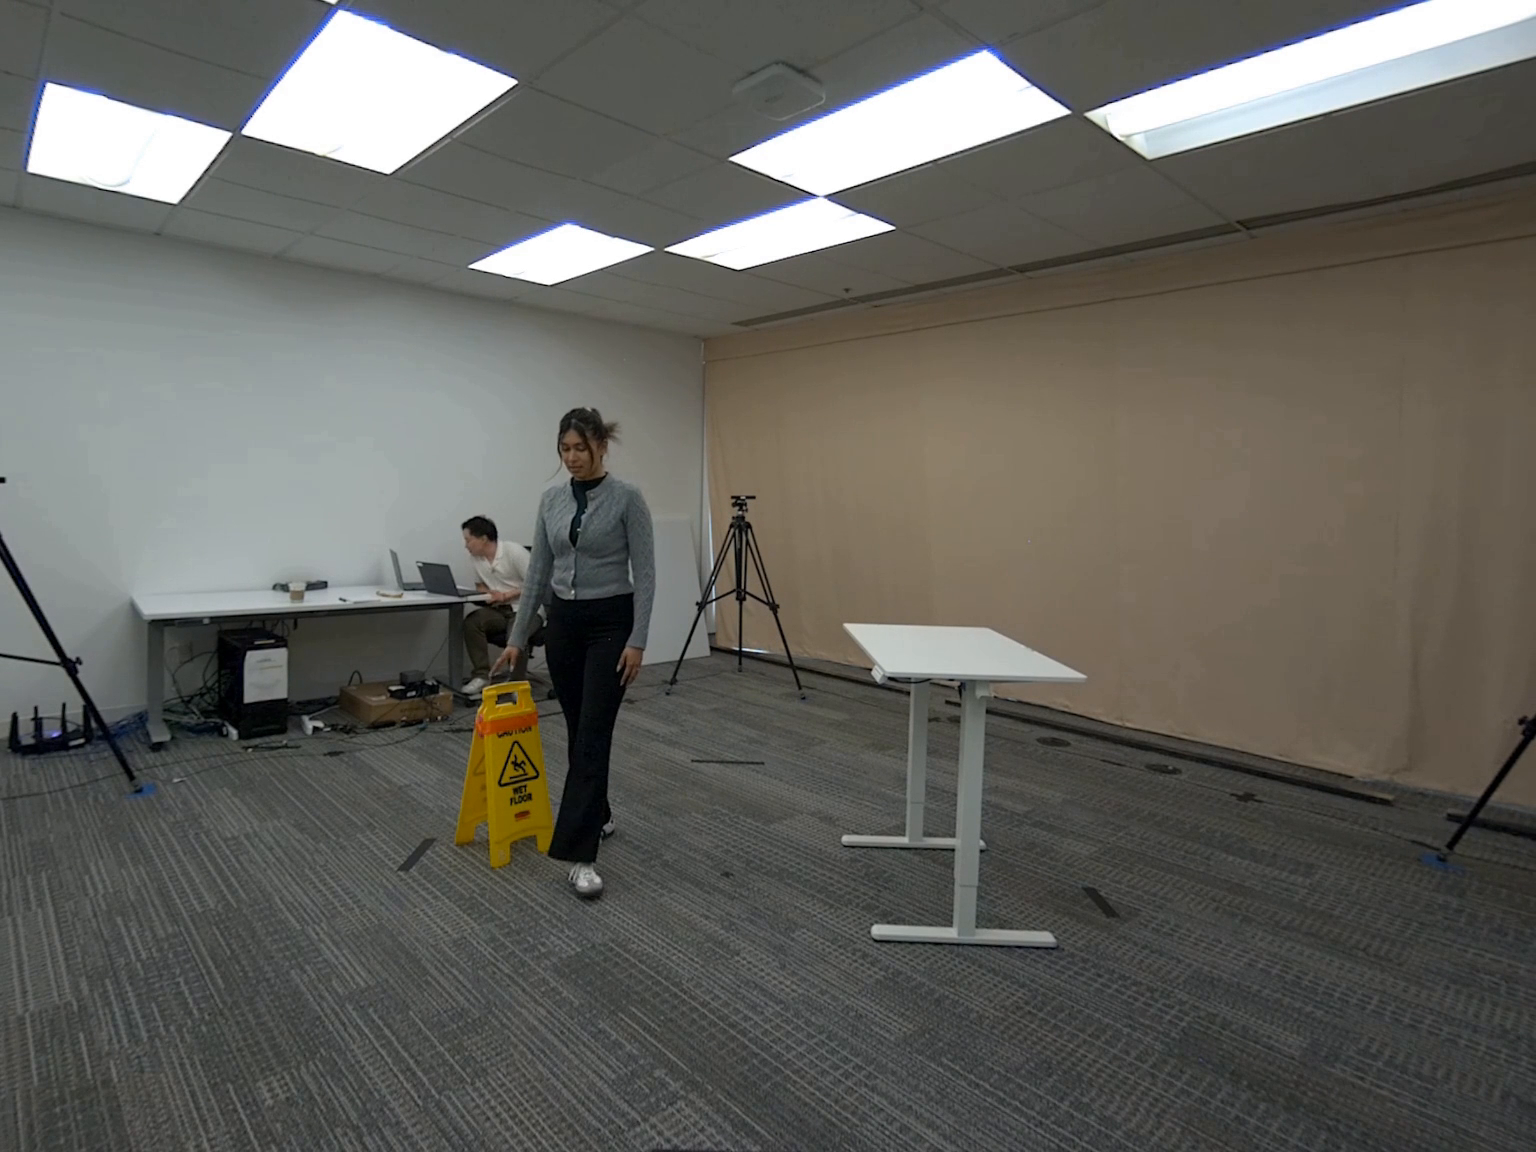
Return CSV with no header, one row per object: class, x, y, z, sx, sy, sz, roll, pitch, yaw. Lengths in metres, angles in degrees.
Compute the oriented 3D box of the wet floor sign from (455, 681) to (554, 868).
wet floor sign,-1.031,0.742,3.289,0.297,0.645,0.275,3,3,43
